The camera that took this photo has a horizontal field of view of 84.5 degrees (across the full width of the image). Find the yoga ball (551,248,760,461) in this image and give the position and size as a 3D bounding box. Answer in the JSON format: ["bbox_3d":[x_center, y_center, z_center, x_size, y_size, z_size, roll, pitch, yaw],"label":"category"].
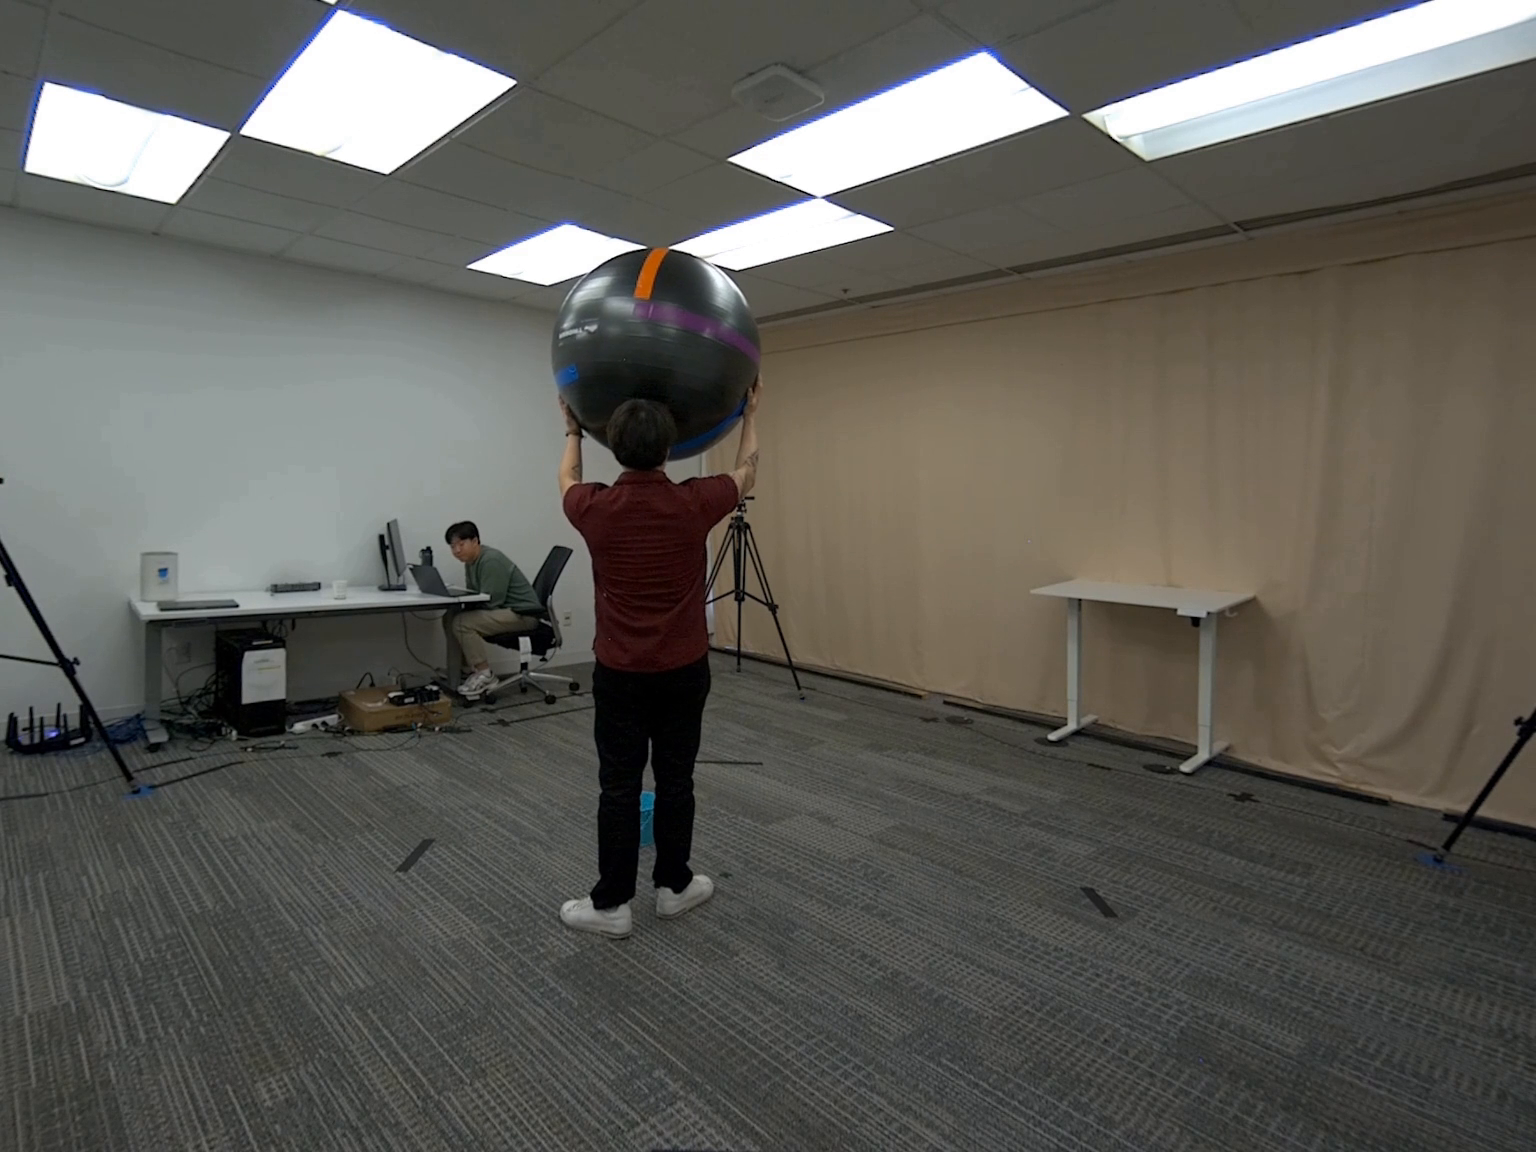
[{"bbox_3d":[-0.409,-0.791,3.060,0.757,0.756,0.761,1,4,-1],"label":"yoga ball"}]
